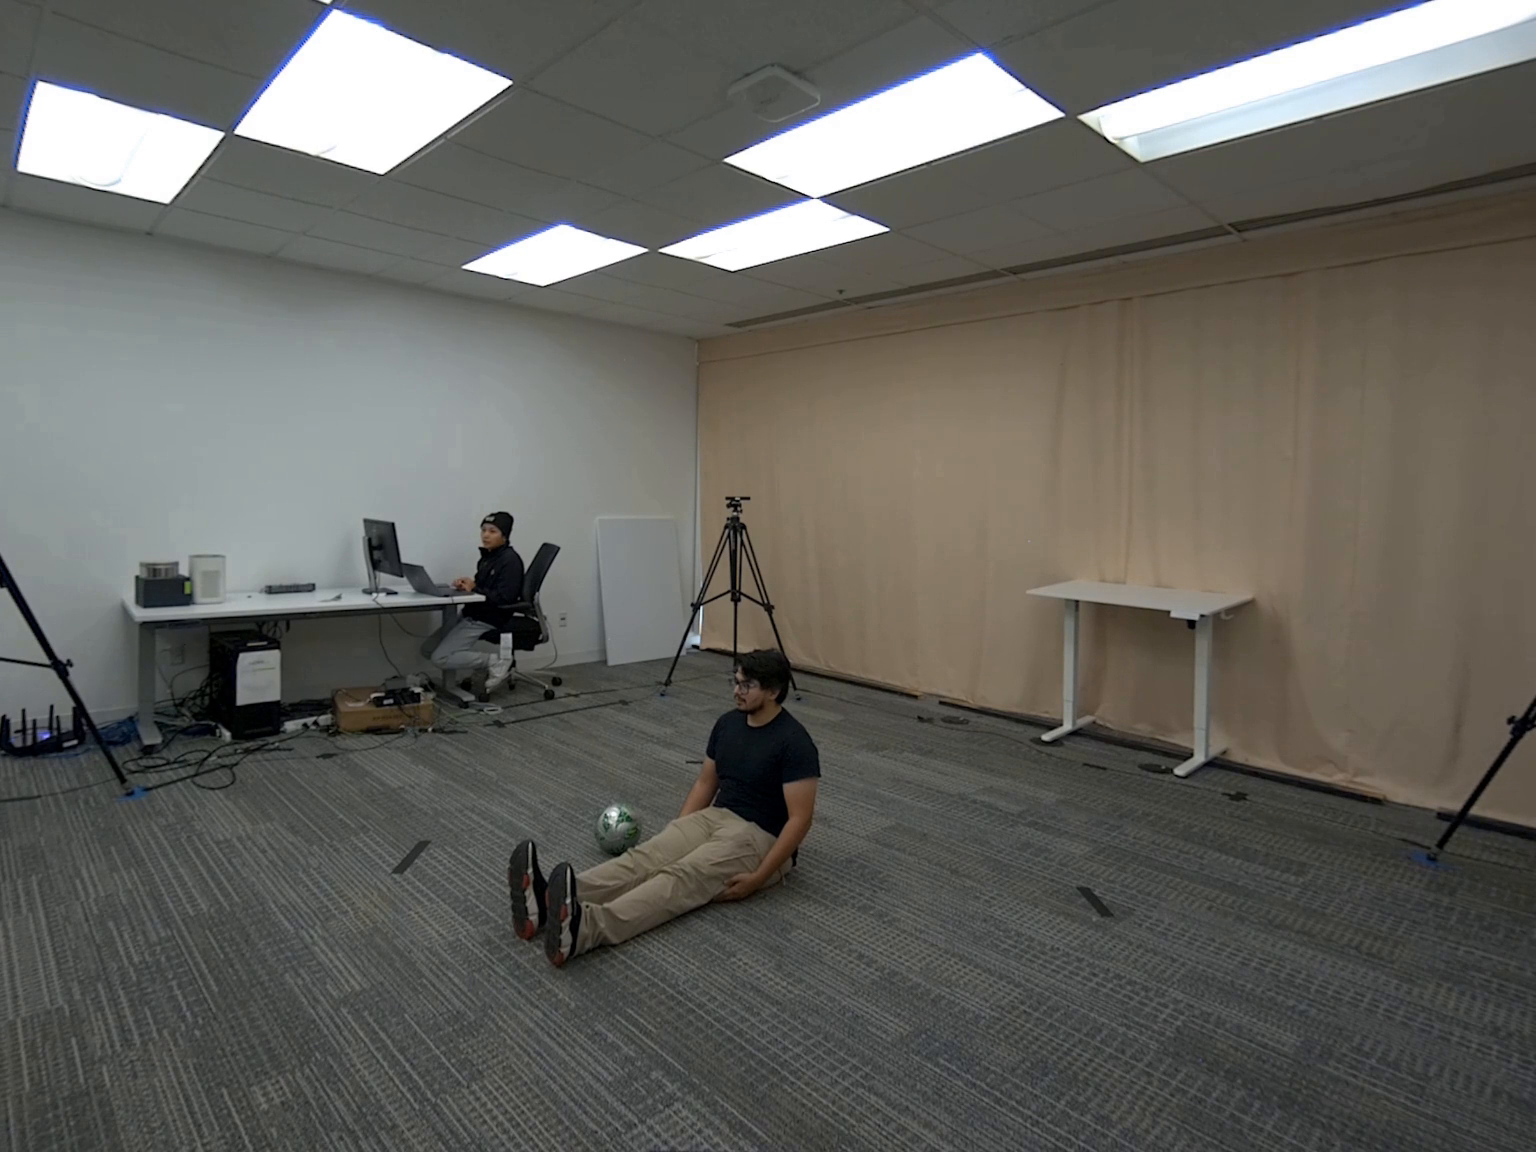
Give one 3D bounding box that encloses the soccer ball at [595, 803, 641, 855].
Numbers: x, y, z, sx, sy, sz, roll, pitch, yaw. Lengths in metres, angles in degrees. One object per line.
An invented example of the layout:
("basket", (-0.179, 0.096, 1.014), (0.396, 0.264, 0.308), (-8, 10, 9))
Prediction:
("soccer ball", (-0.584, 0.979, 3.287), (0.187, 0.187, 0.188), (1, 5, -1))
